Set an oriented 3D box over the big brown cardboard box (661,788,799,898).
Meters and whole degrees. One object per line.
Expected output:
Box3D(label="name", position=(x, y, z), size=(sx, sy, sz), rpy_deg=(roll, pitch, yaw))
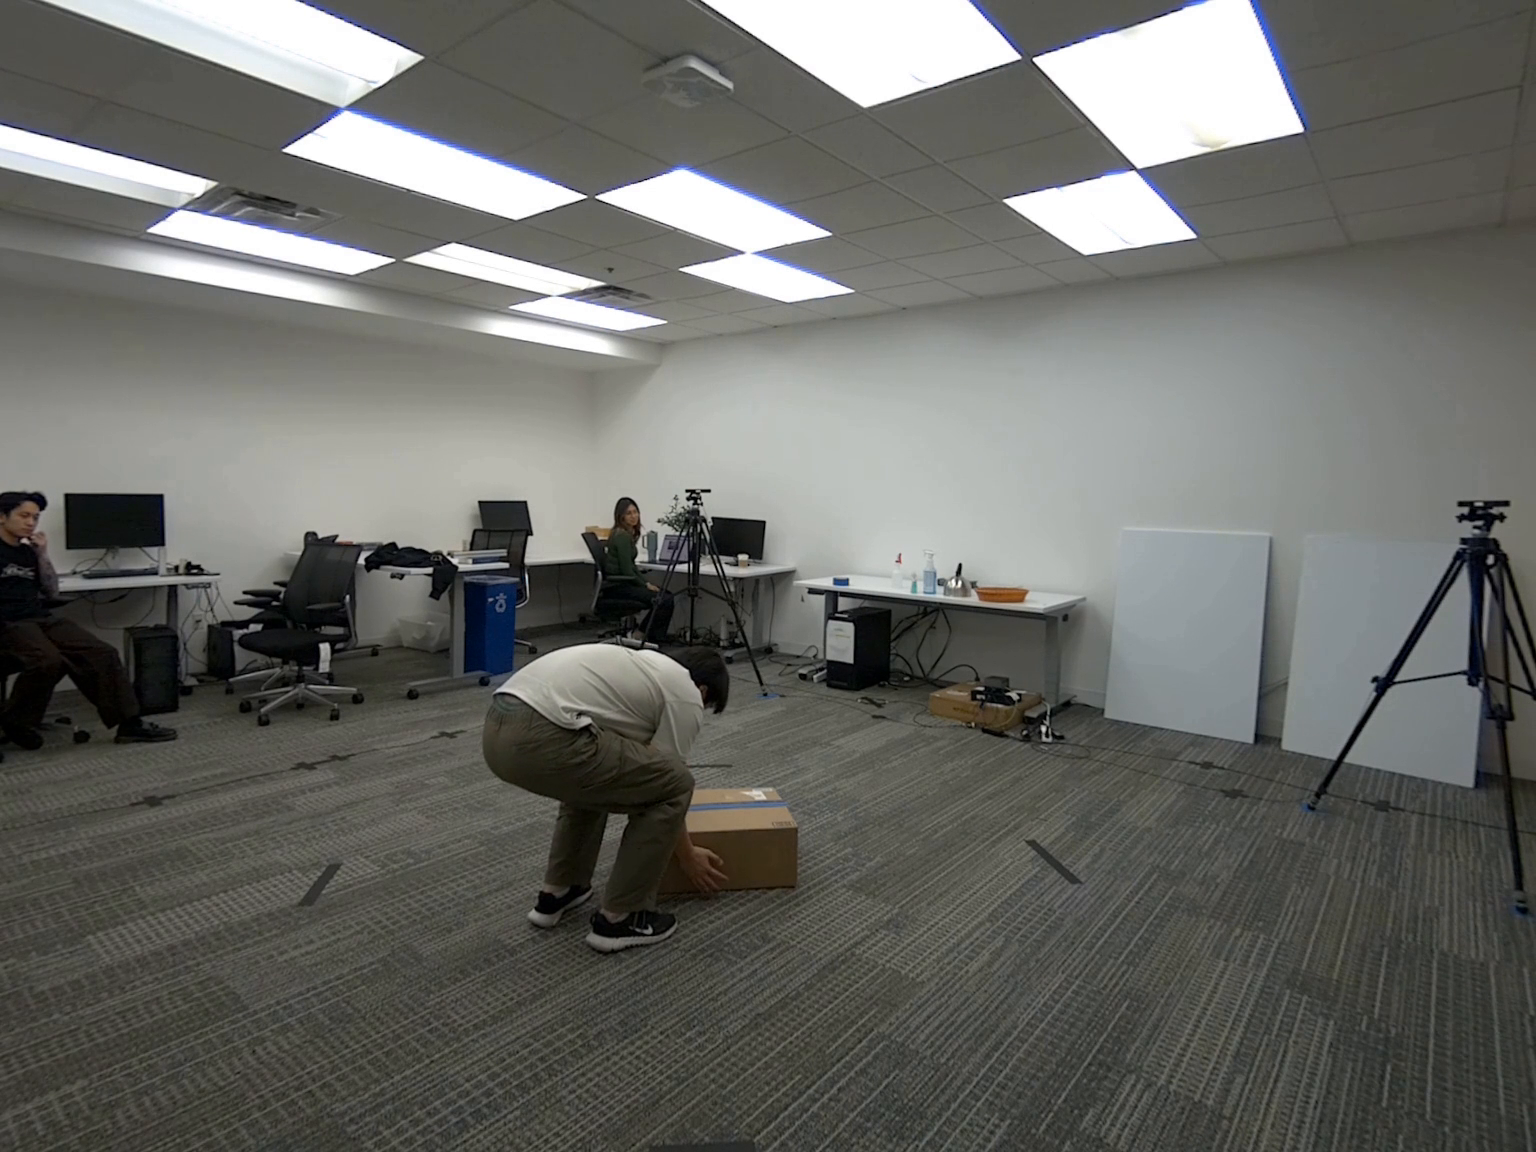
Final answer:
Box3D(label="big brown cardboard box", position=(-0.213, 0.957, 3.143), size=(0.583, 0.232, 0.424), rpy_deg=(-1, 5, -10))
